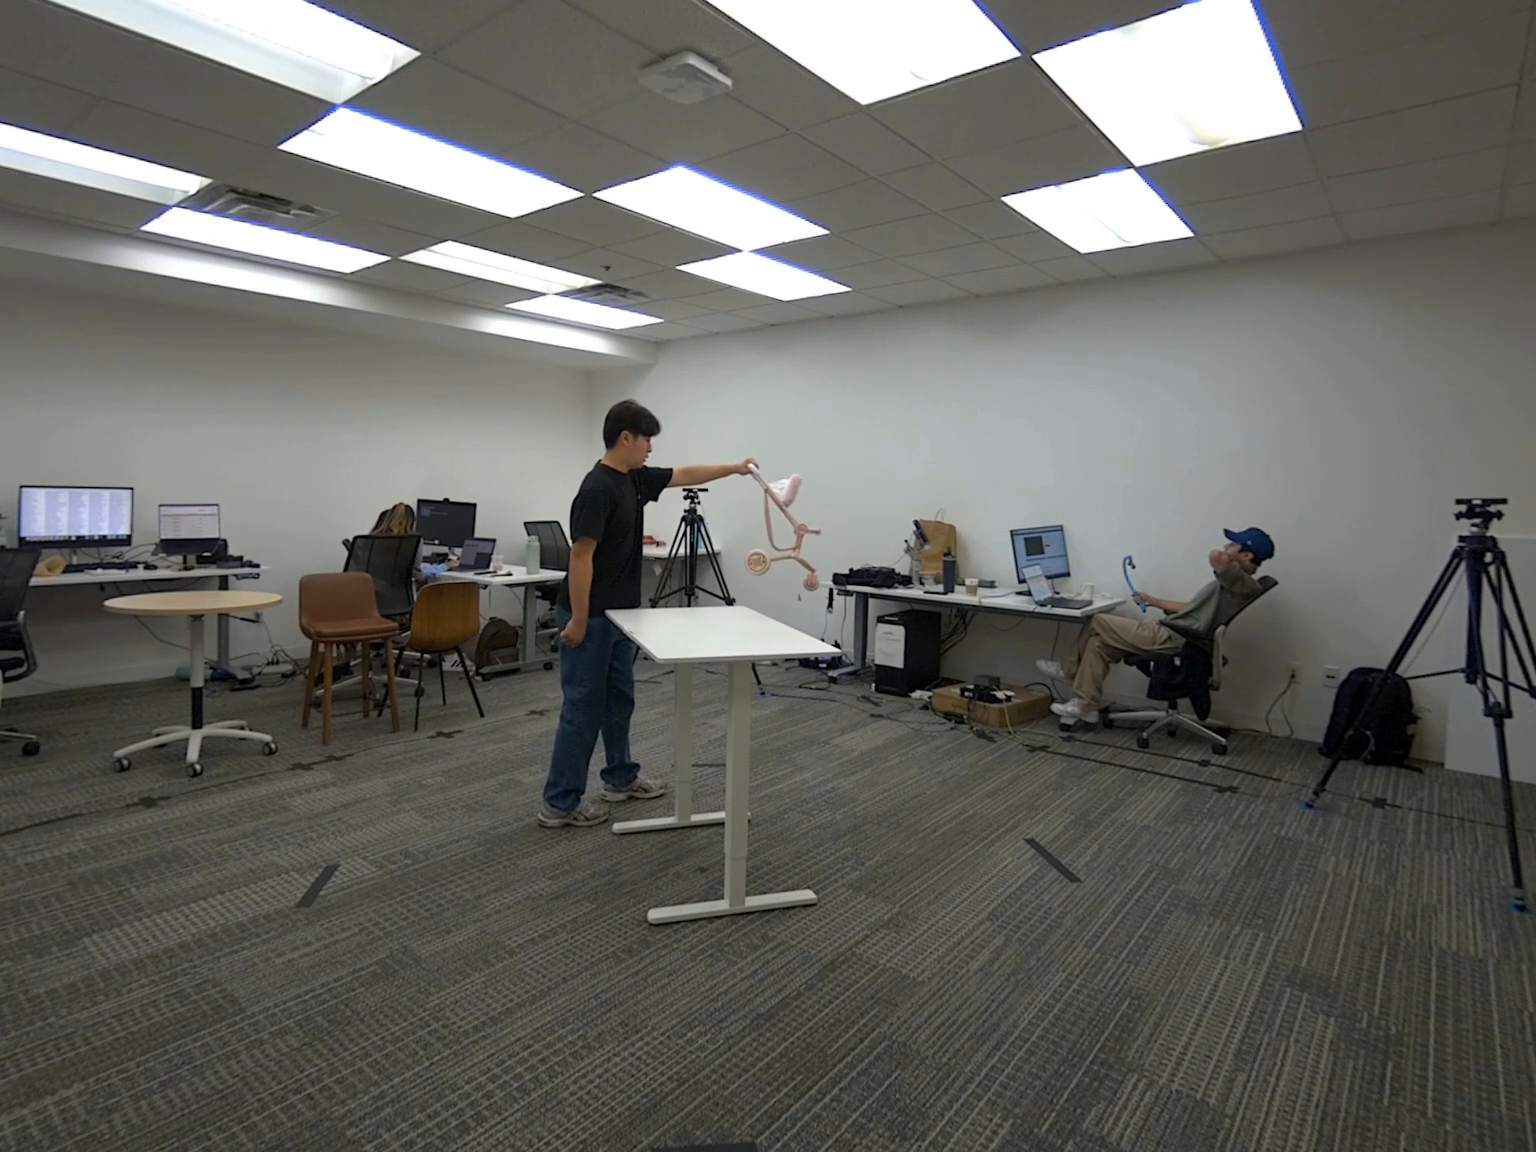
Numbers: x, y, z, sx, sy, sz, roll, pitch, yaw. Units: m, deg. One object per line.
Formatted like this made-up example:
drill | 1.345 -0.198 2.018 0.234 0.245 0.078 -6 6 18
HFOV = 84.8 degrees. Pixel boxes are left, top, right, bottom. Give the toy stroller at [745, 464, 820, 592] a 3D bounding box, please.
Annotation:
toy stroller | 0.062 -0.210 3.705 0.344 0.536 0.279 3 -2 6
